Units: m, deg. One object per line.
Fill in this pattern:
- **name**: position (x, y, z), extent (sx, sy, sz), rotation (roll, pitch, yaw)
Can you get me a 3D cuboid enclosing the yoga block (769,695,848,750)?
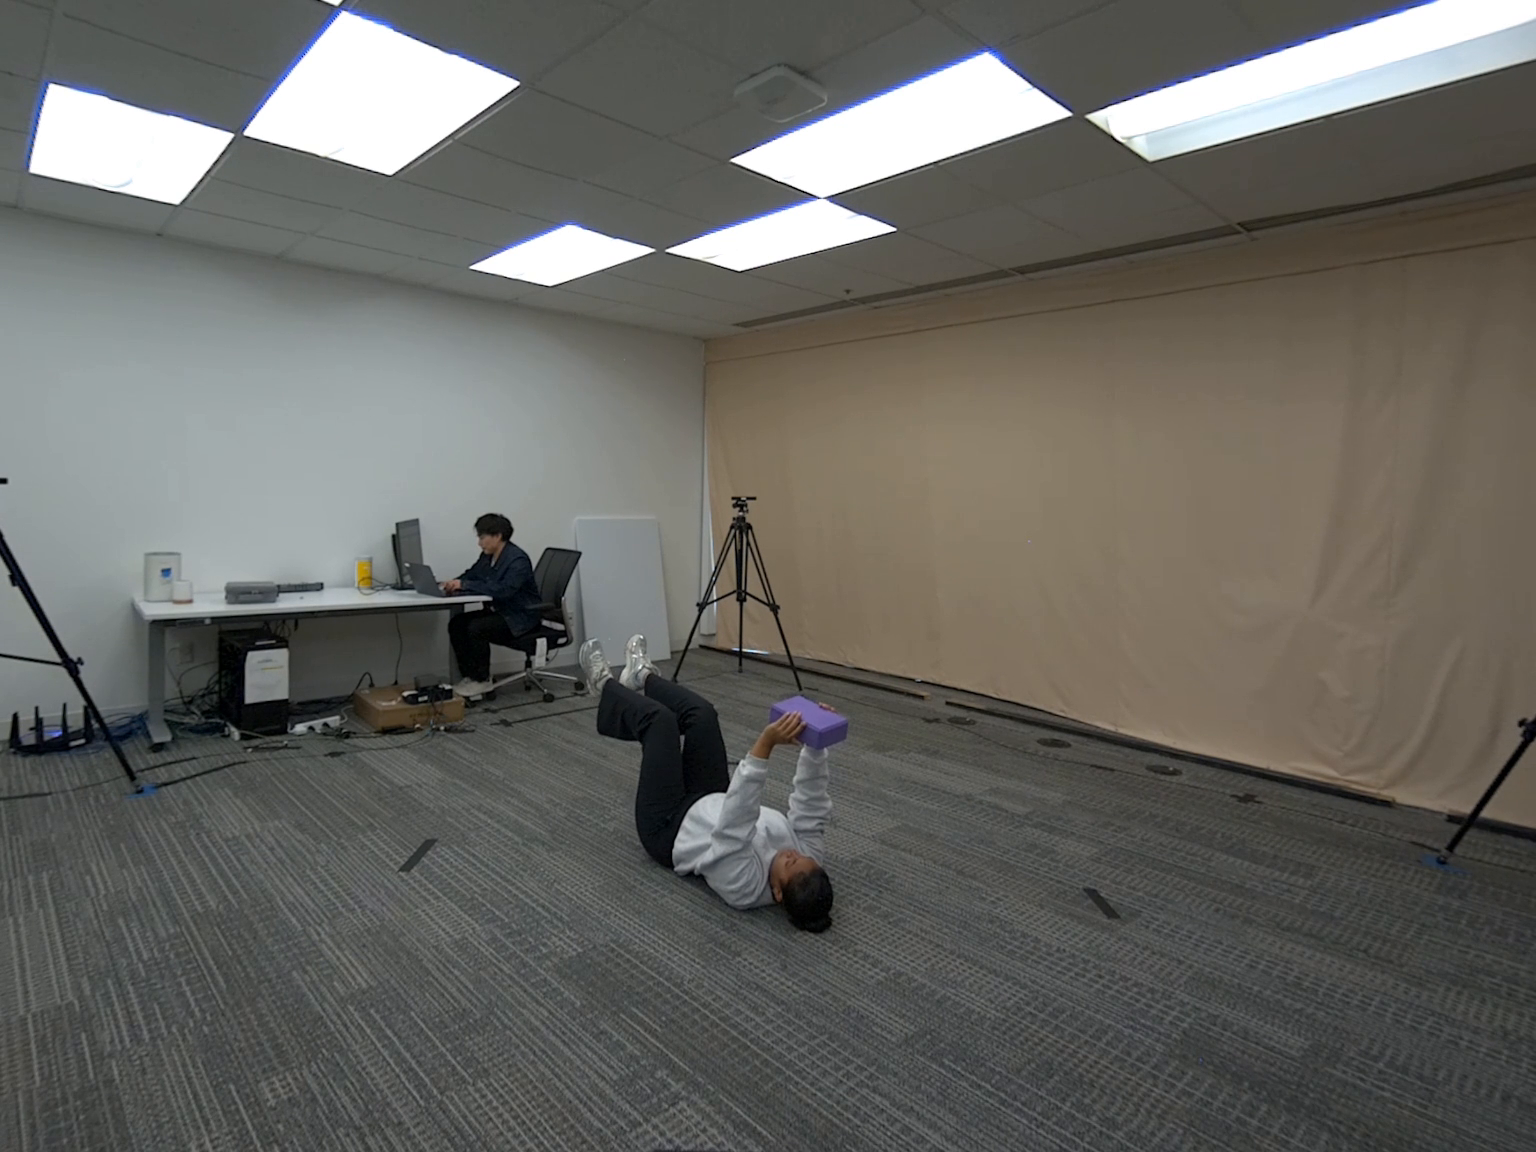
- **yoga block**: position (0.132, 0.490, 2.809), extent (0.236, 0.076, 0.146), rotation (19, 21, 39)
